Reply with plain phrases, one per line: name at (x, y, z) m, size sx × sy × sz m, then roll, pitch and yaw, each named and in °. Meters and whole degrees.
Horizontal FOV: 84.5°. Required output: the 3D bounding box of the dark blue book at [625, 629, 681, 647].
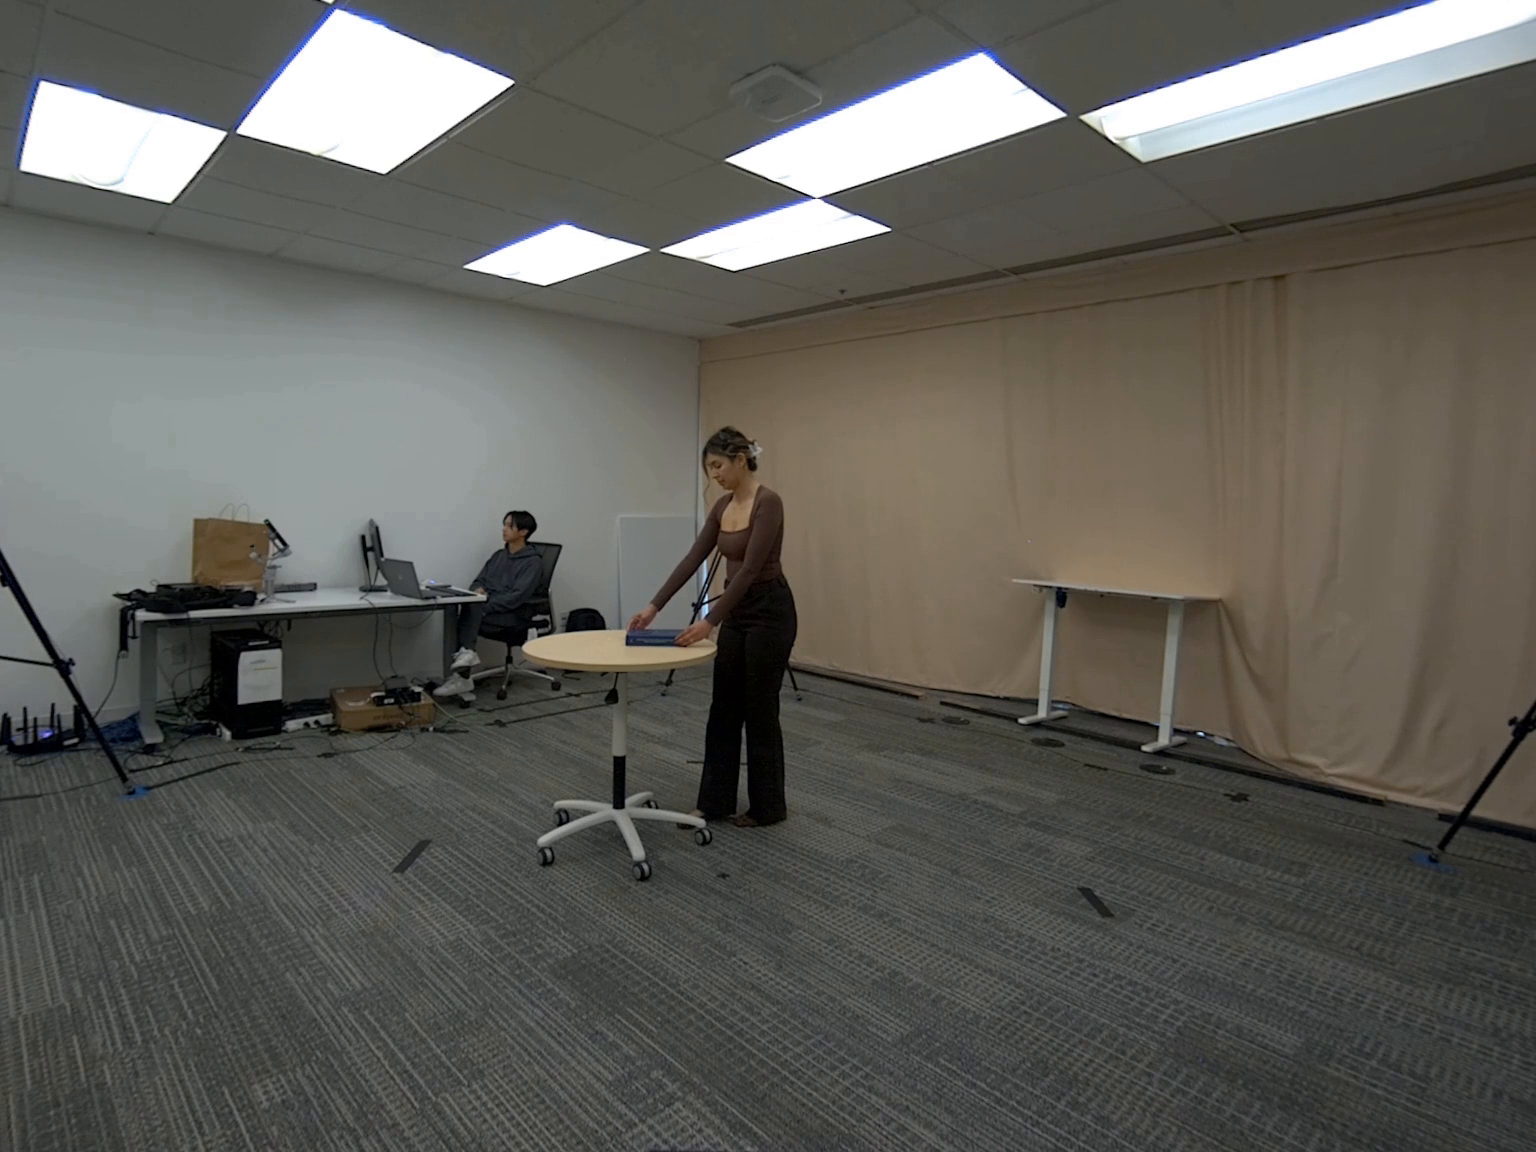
dark blue book at (-0.457, 0.257, 3.423) m, size 0.245 × 0.045 × 0.164 m, roll 3°, pitch 5°, yaw -2°
